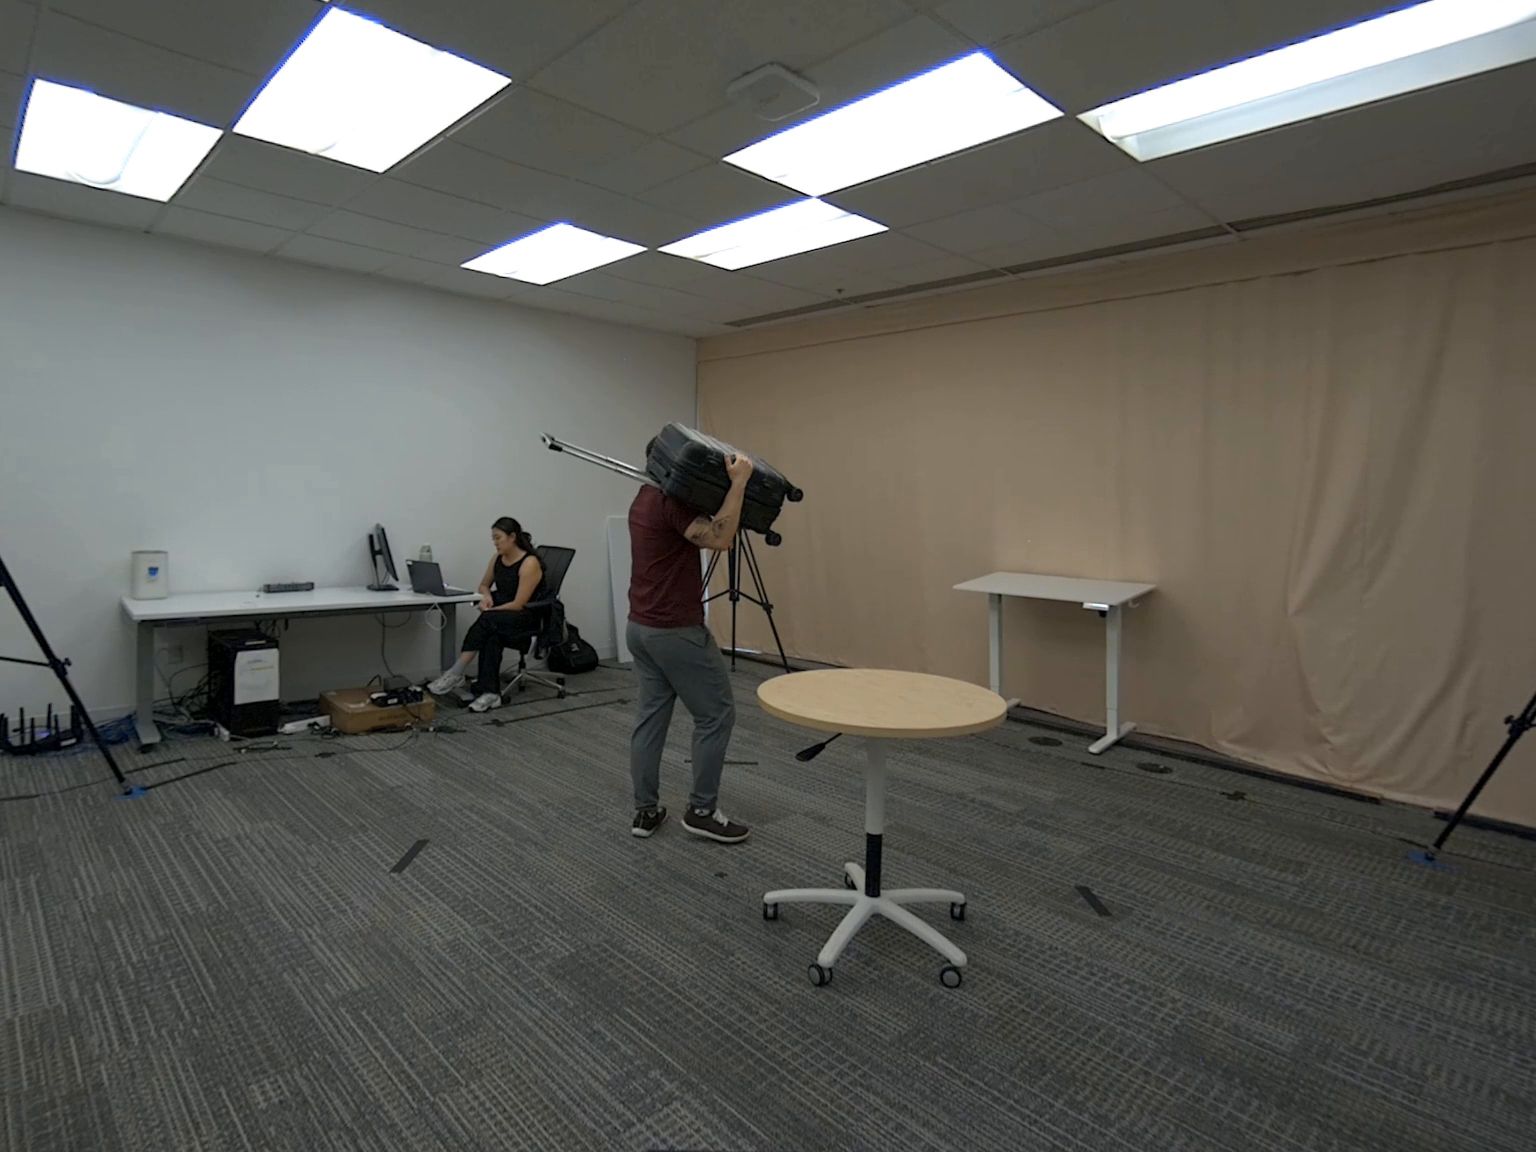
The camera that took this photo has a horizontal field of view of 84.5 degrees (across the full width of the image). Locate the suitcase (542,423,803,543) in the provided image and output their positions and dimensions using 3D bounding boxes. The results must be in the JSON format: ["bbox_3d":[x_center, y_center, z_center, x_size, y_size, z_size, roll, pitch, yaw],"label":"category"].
[{"bbox_3d":[-0.348,-0.440,3.205,0.953,0.256,0.395,20,13,-32],"label":"suitcase"}]
